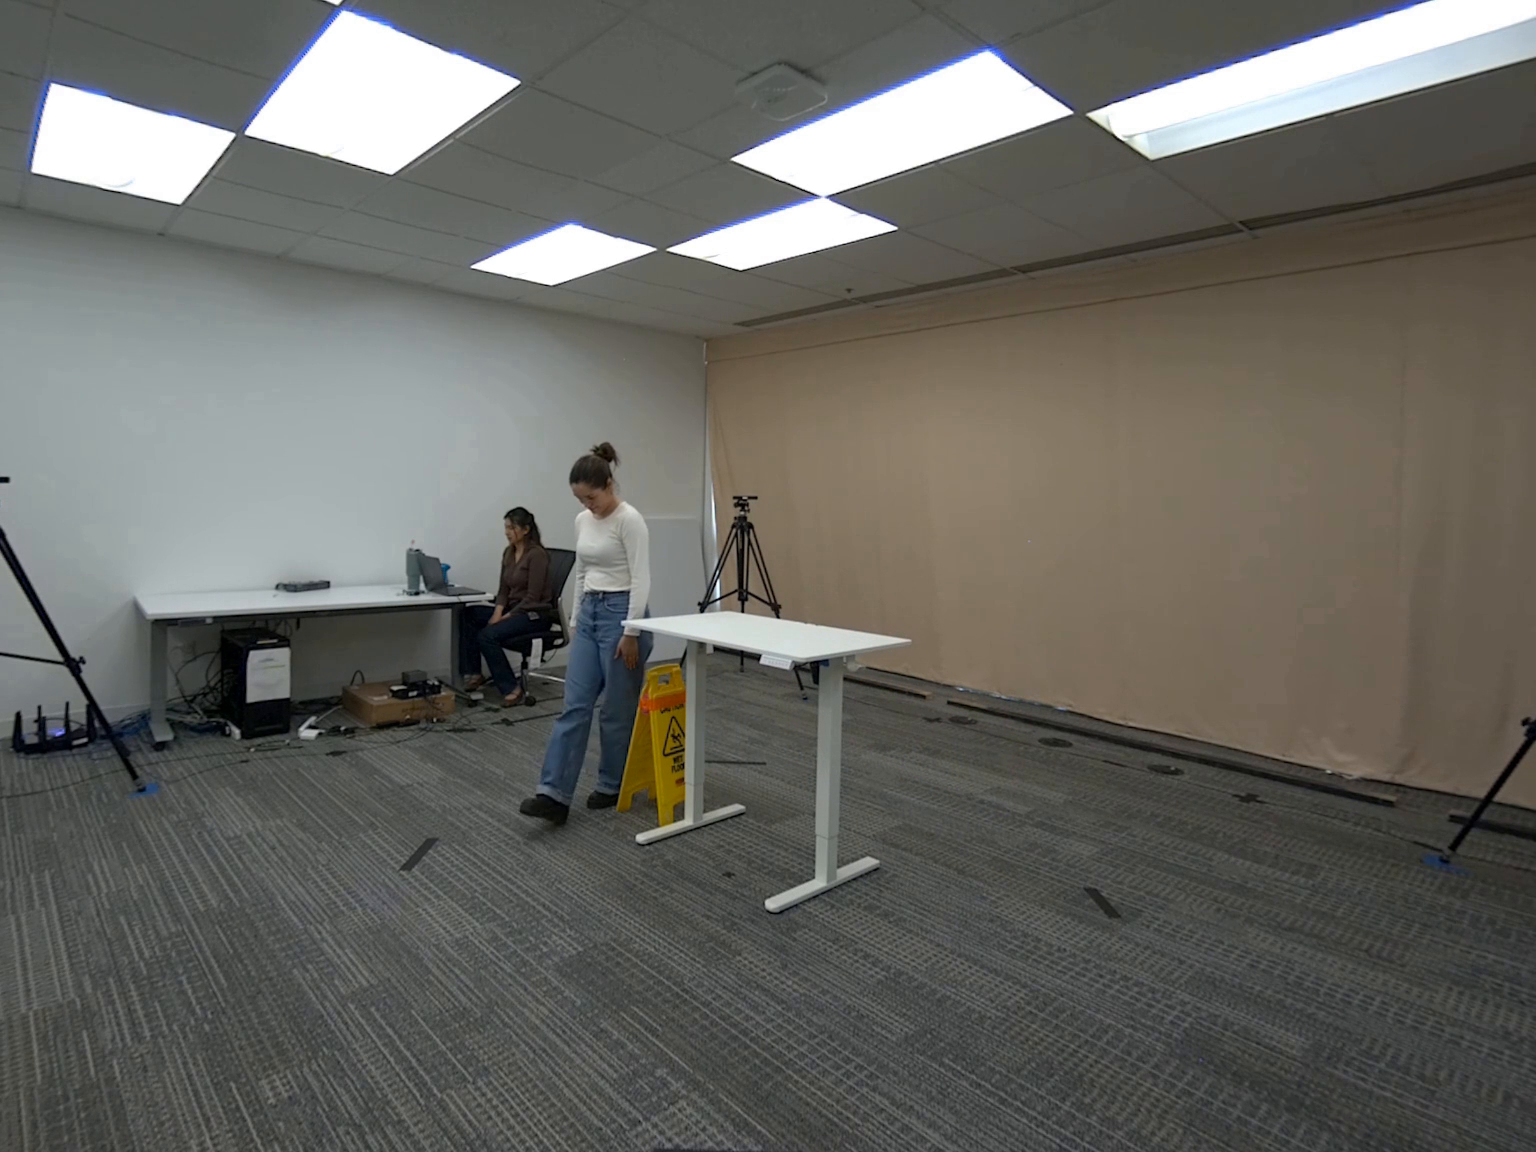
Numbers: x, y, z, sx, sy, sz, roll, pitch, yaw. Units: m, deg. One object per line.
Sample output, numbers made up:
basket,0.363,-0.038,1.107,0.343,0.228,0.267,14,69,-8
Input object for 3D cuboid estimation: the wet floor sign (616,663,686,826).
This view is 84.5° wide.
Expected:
wet floor sign,-0.476,0.718,3.710,0.297,0.645,0.276,3,2,37
